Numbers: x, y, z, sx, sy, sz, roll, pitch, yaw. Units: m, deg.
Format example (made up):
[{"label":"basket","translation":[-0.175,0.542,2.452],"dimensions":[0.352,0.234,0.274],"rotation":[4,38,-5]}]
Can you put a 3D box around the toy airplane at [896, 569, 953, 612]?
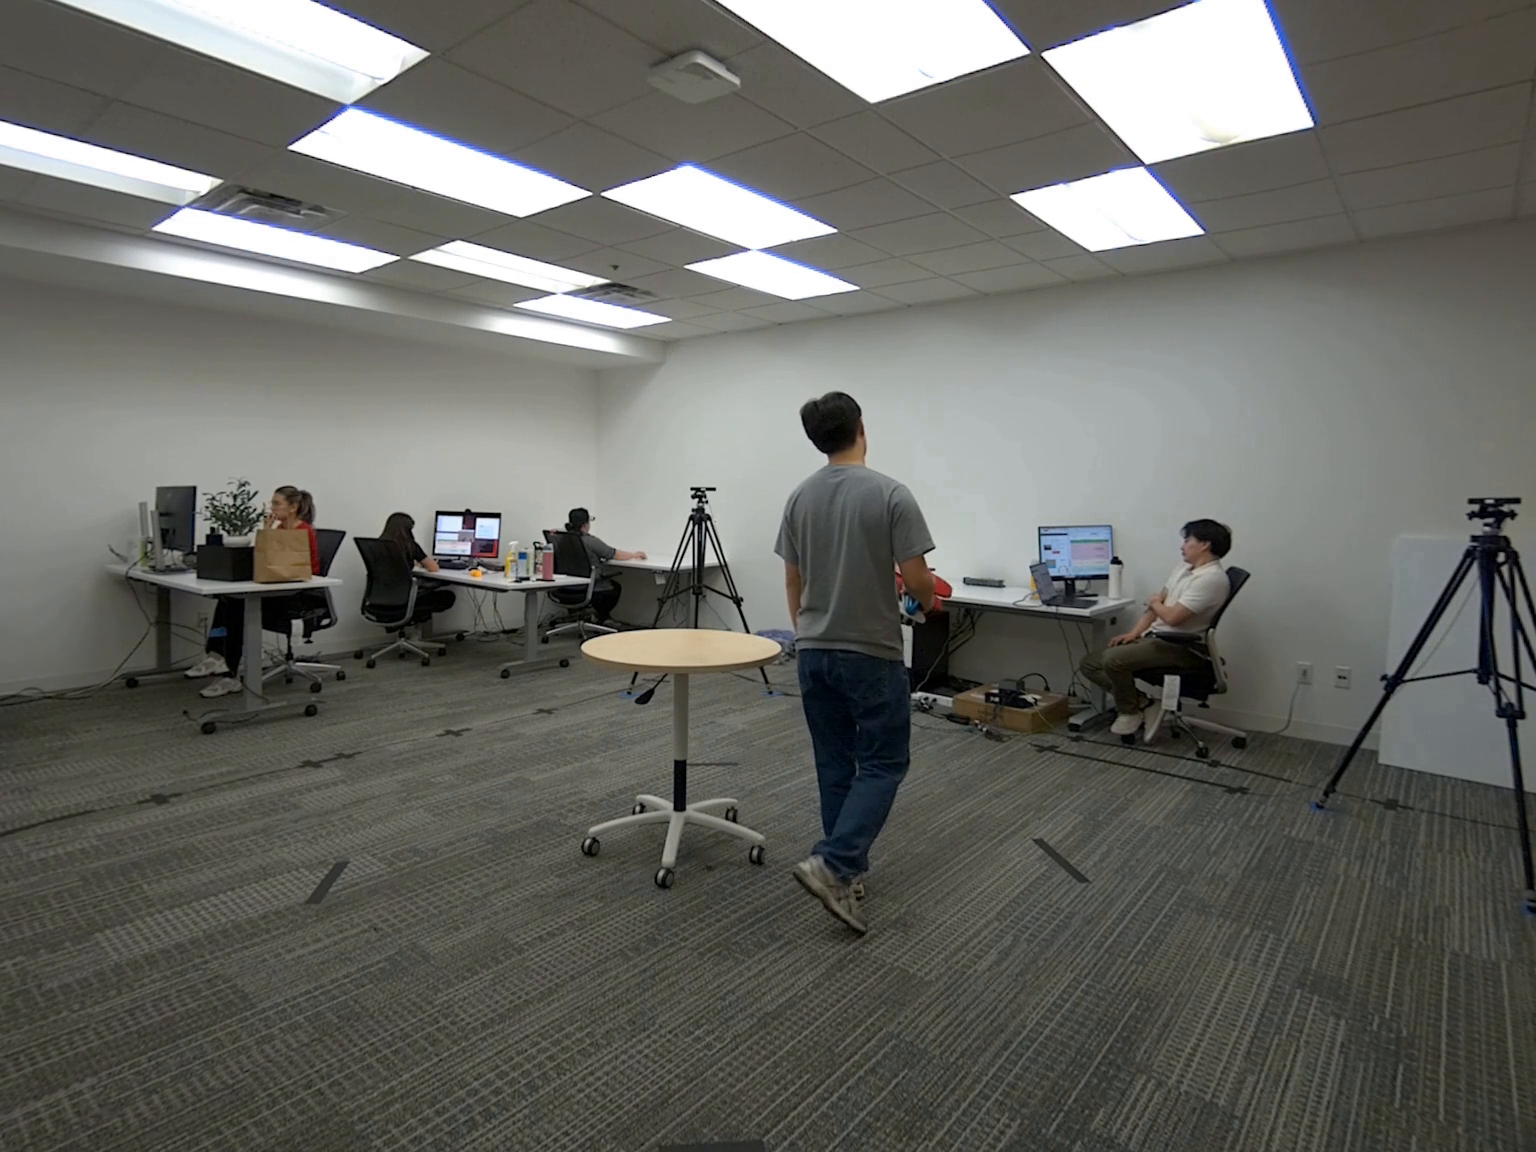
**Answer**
[{"label":"toy airplane","translation":[0.534,0.067,3.085],"dimensions":[0.244,0.155,0.269],"rotation":[10,32,-26]}]
